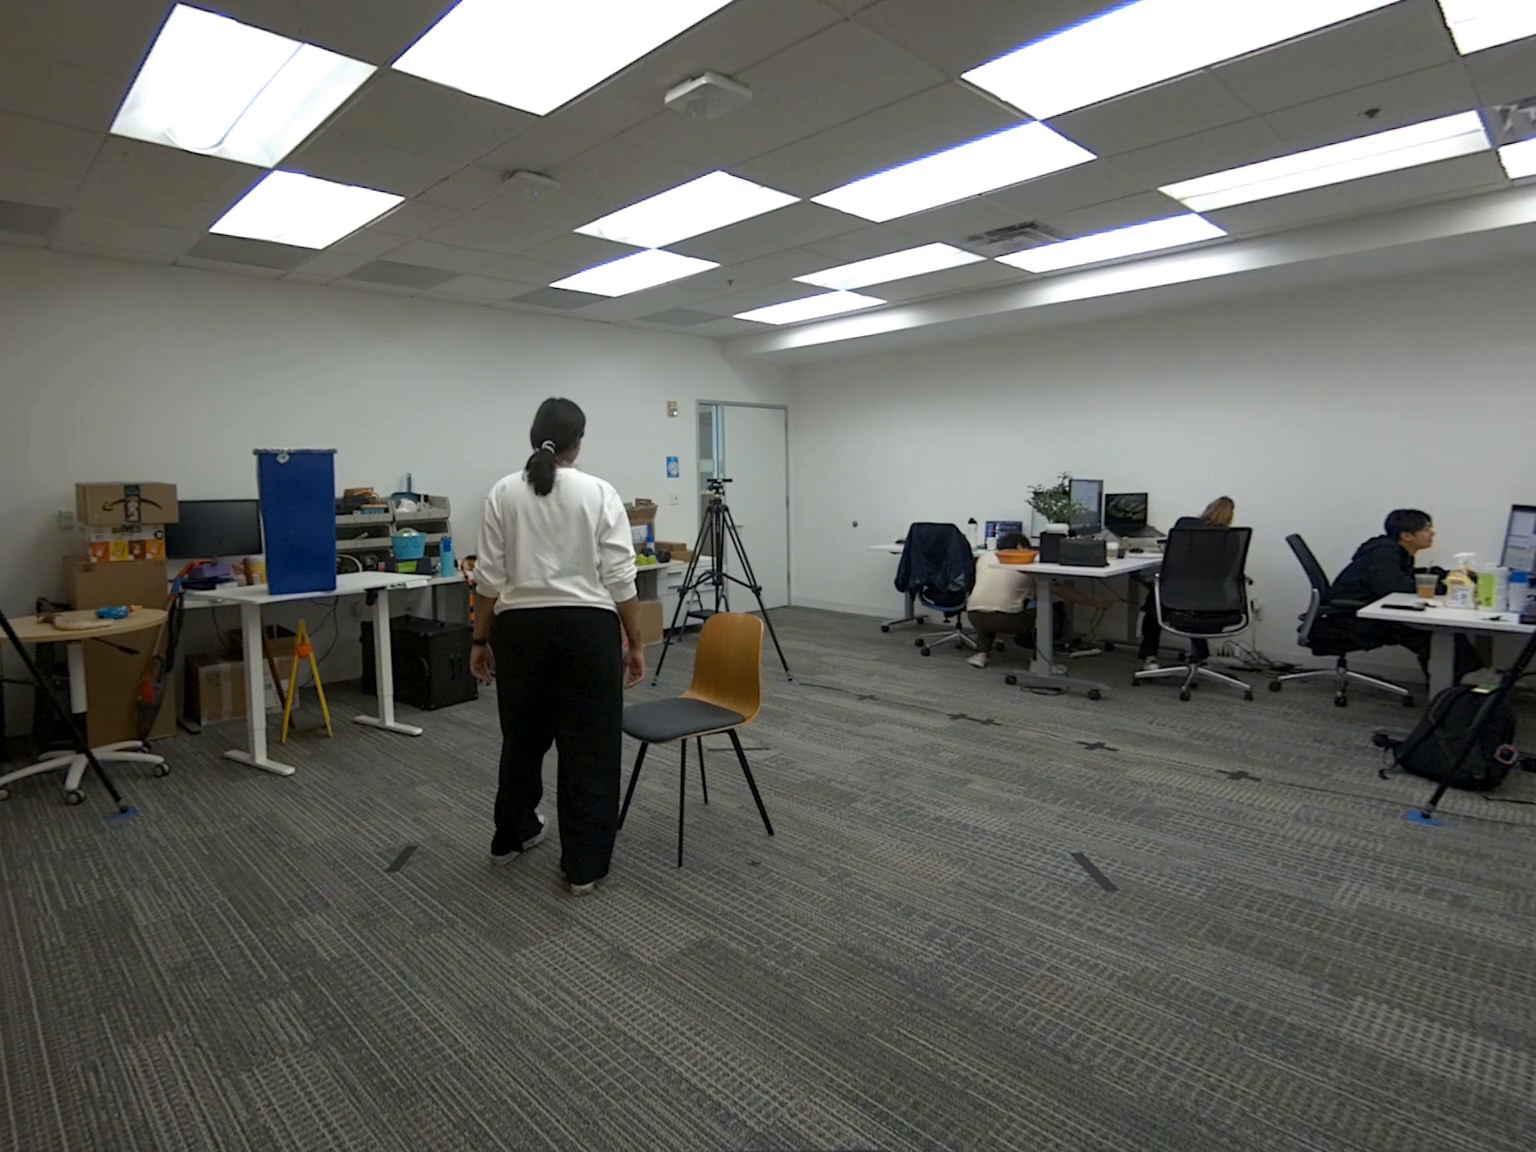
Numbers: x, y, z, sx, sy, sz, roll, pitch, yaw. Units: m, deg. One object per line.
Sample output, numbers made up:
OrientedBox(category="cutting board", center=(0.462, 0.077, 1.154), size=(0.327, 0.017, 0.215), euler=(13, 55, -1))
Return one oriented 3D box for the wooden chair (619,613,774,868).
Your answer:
OrientedBox(category="wooden chair", center=(-0.302, 0.593, 3.361), size=(0.508, 0.876, 0.492), euler=(1, 2, -39))
